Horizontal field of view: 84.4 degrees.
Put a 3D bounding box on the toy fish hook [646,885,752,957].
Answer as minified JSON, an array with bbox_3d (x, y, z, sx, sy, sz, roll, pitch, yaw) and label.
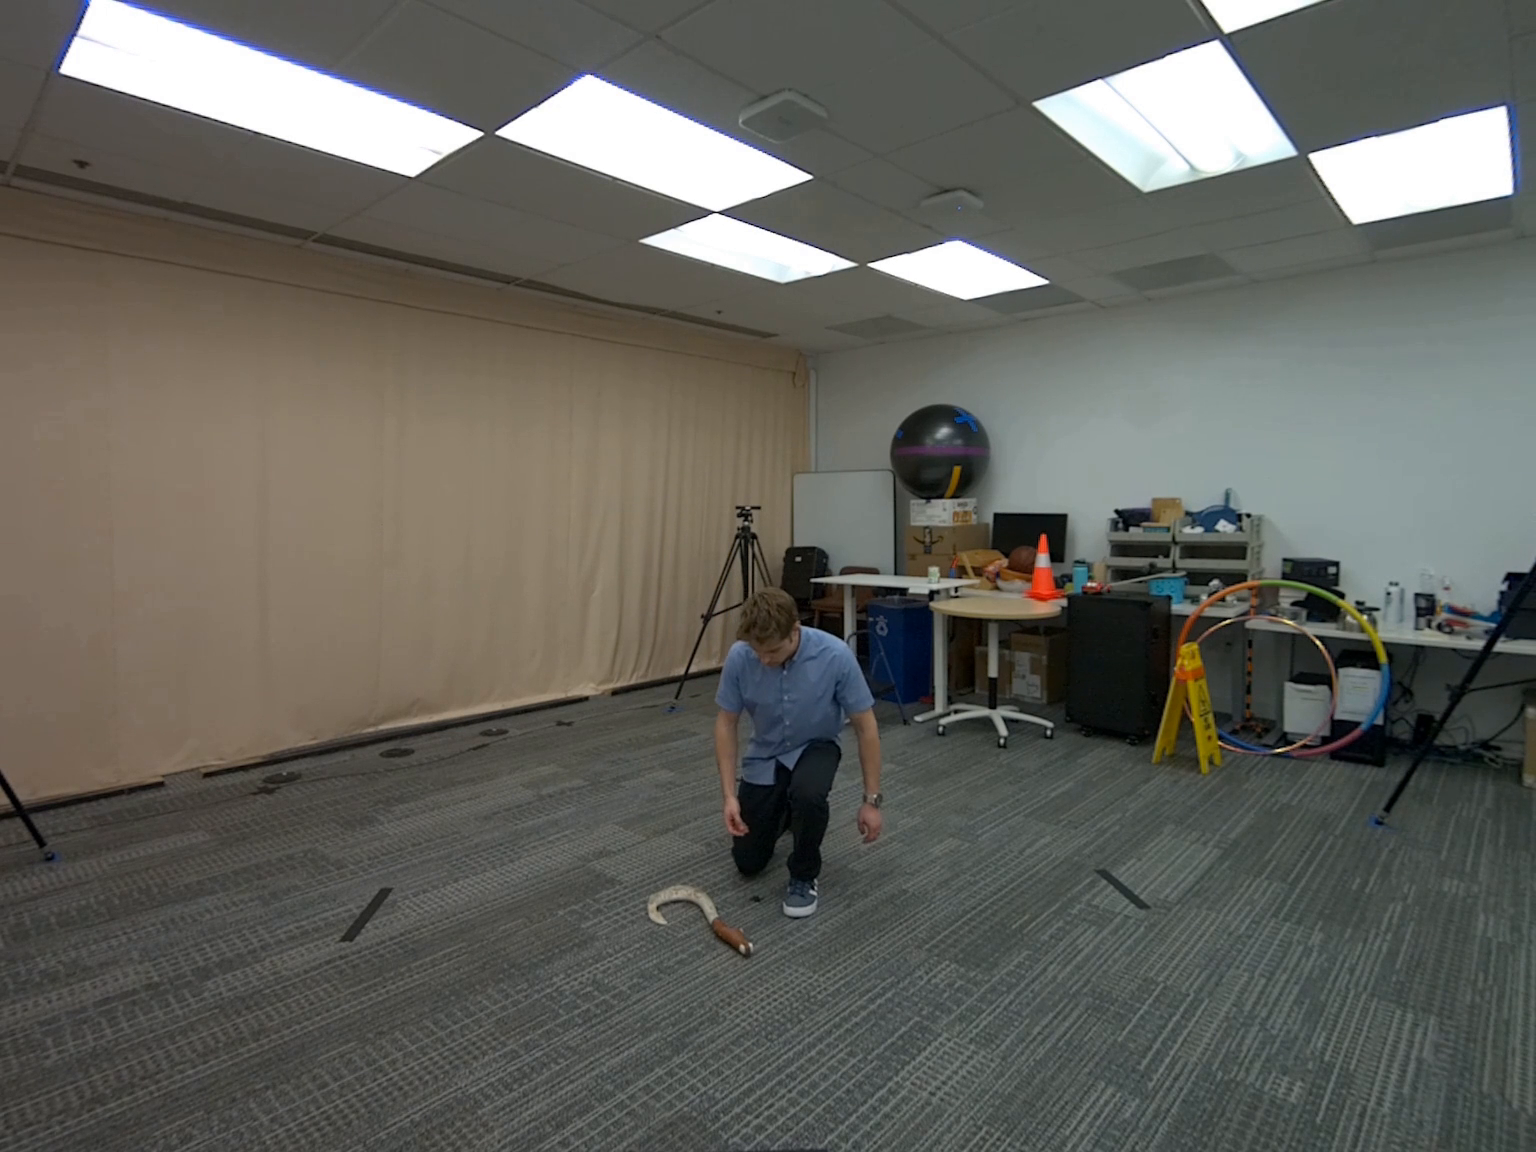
[{"bbox_3d":[-0.235,1.149,2.778,0.219,0.048,0.522,-12,10,-30],"label":"toy fish hook"}]
